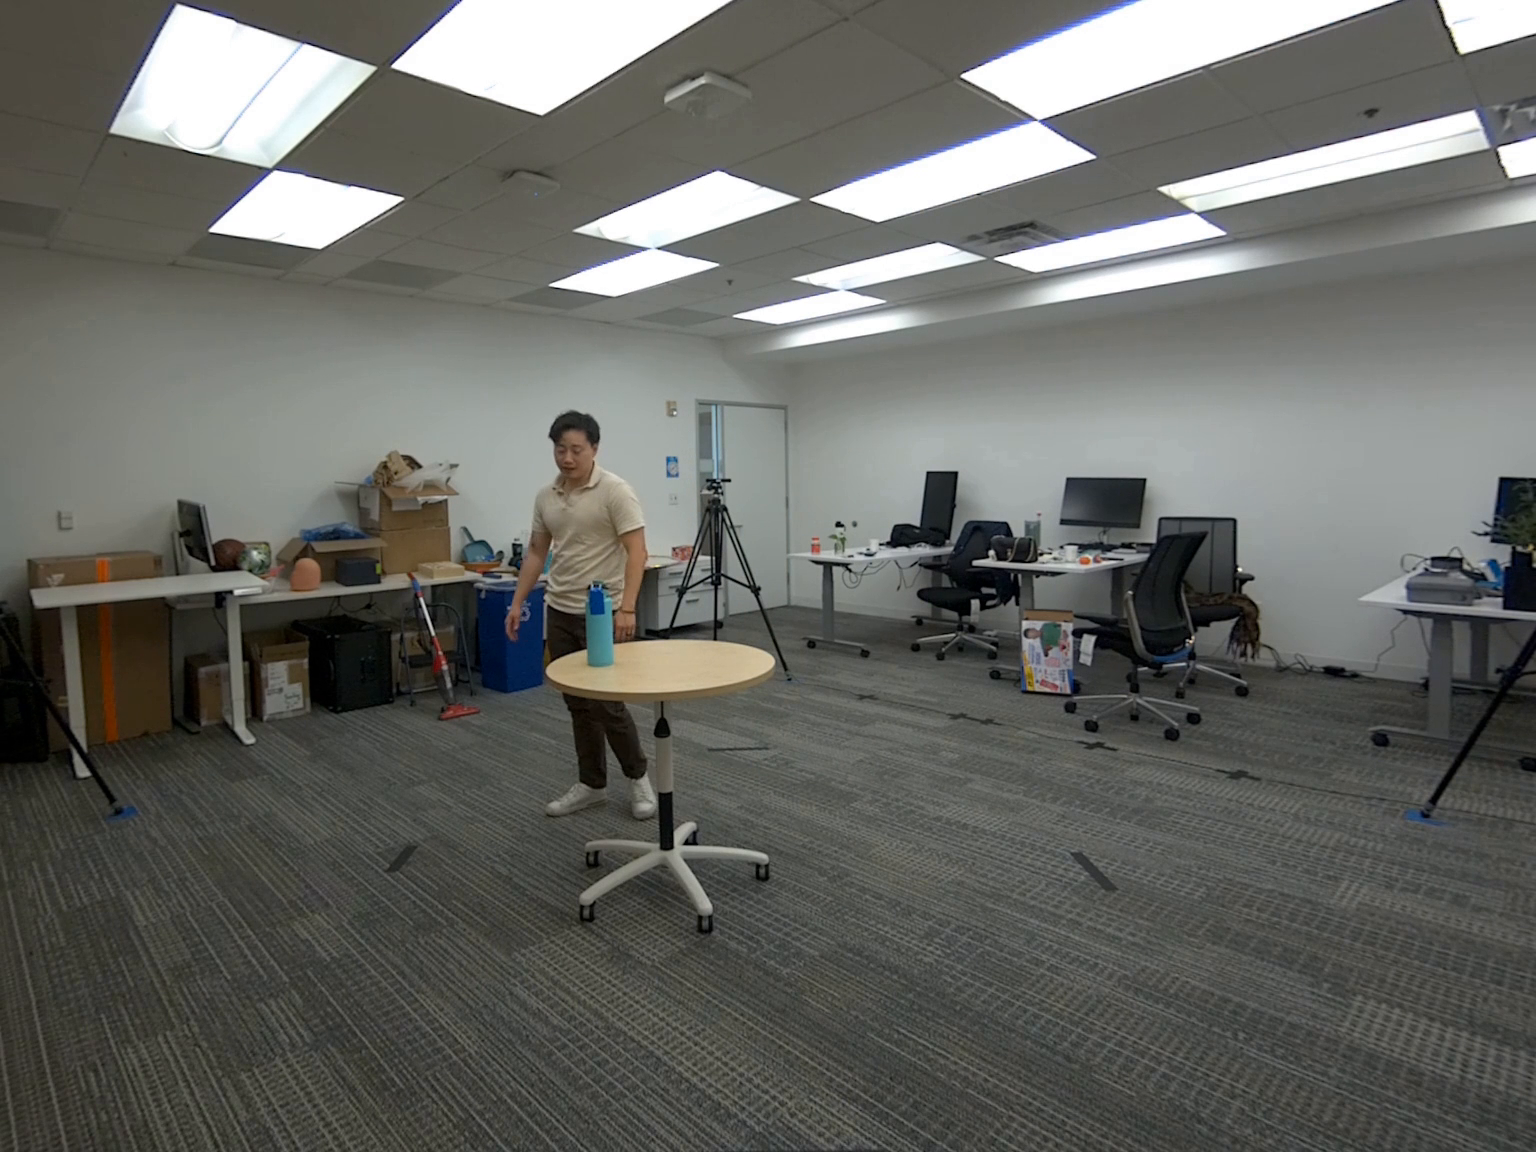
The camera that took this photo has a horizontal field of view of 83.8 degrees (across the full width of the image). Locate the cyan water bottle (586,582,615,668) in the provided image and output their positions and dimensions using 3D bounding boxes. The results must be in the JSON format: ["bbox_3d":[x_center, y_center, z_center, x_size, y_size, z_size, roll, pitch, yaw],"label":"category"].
[{"bbox_3d":[-0.572,0.159,2.880,0.092,0.282,0.093,0,5,-2],"label":"cyan water bottle"}]
